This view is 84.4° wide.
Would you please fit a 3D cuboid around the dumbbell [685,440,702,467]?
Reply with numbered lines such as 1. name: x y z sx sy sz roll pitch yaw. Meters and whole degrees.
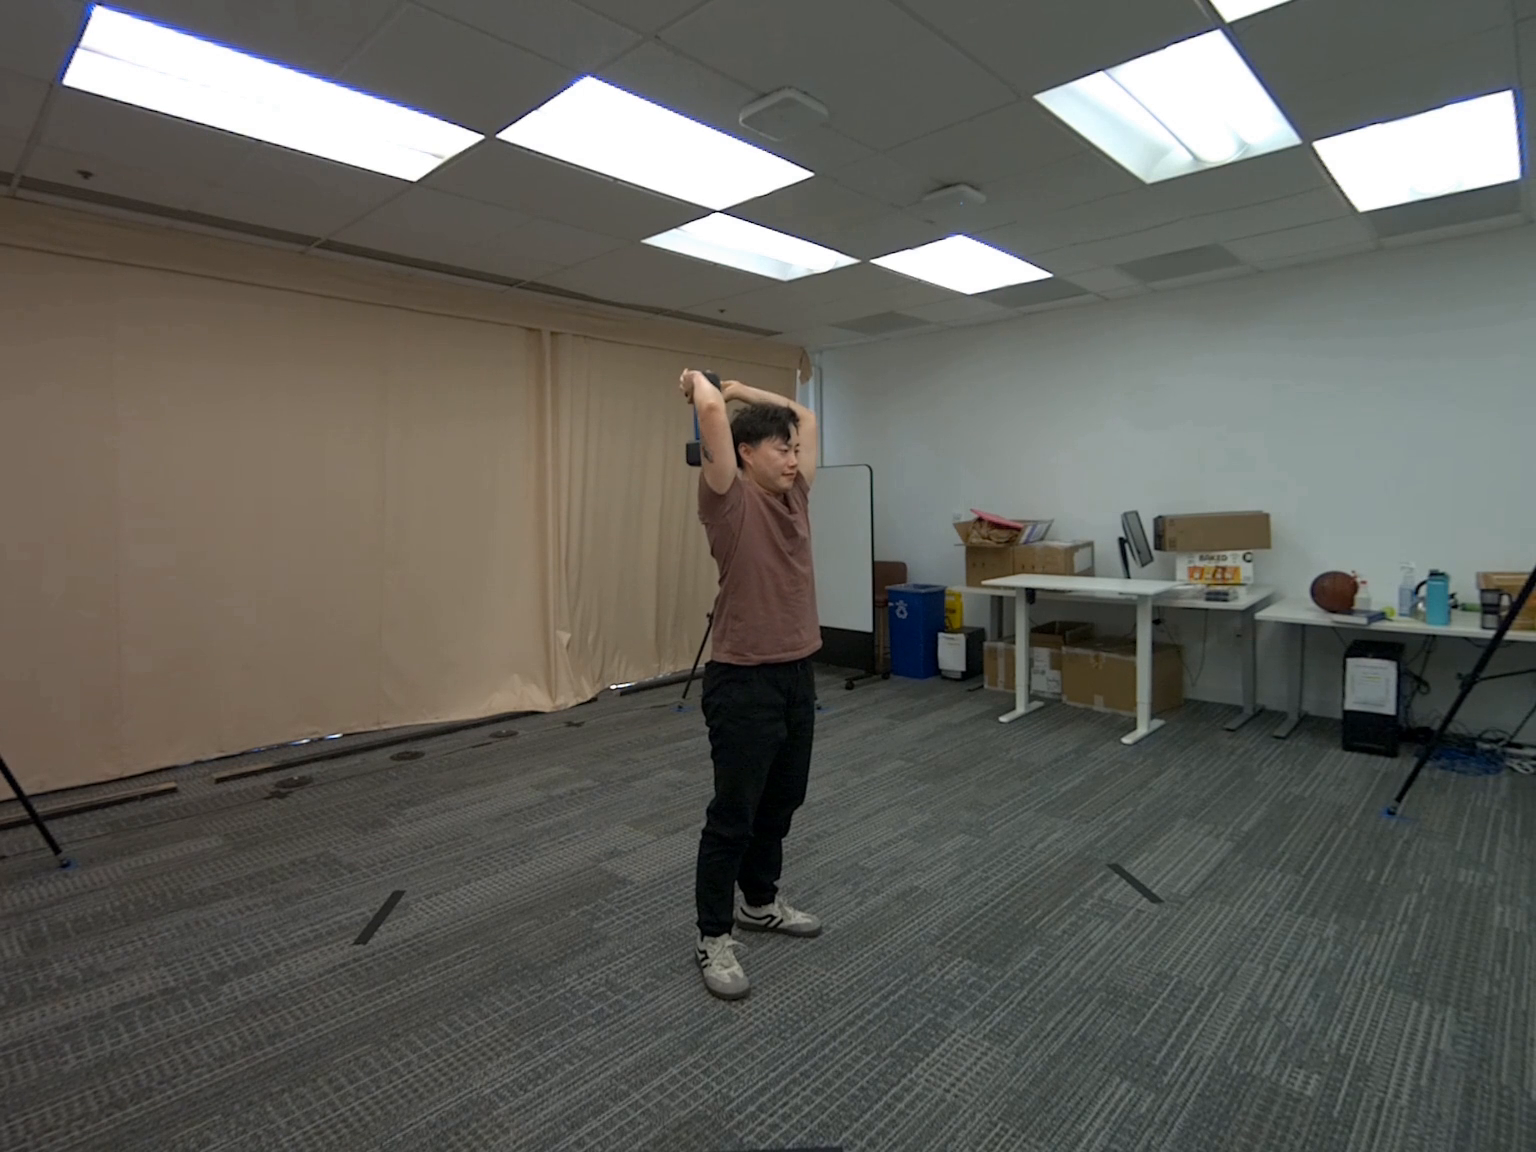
1. dumbbell: -0.200 -0.498 2.680 0.127 0.293 0.105 7 5 40
